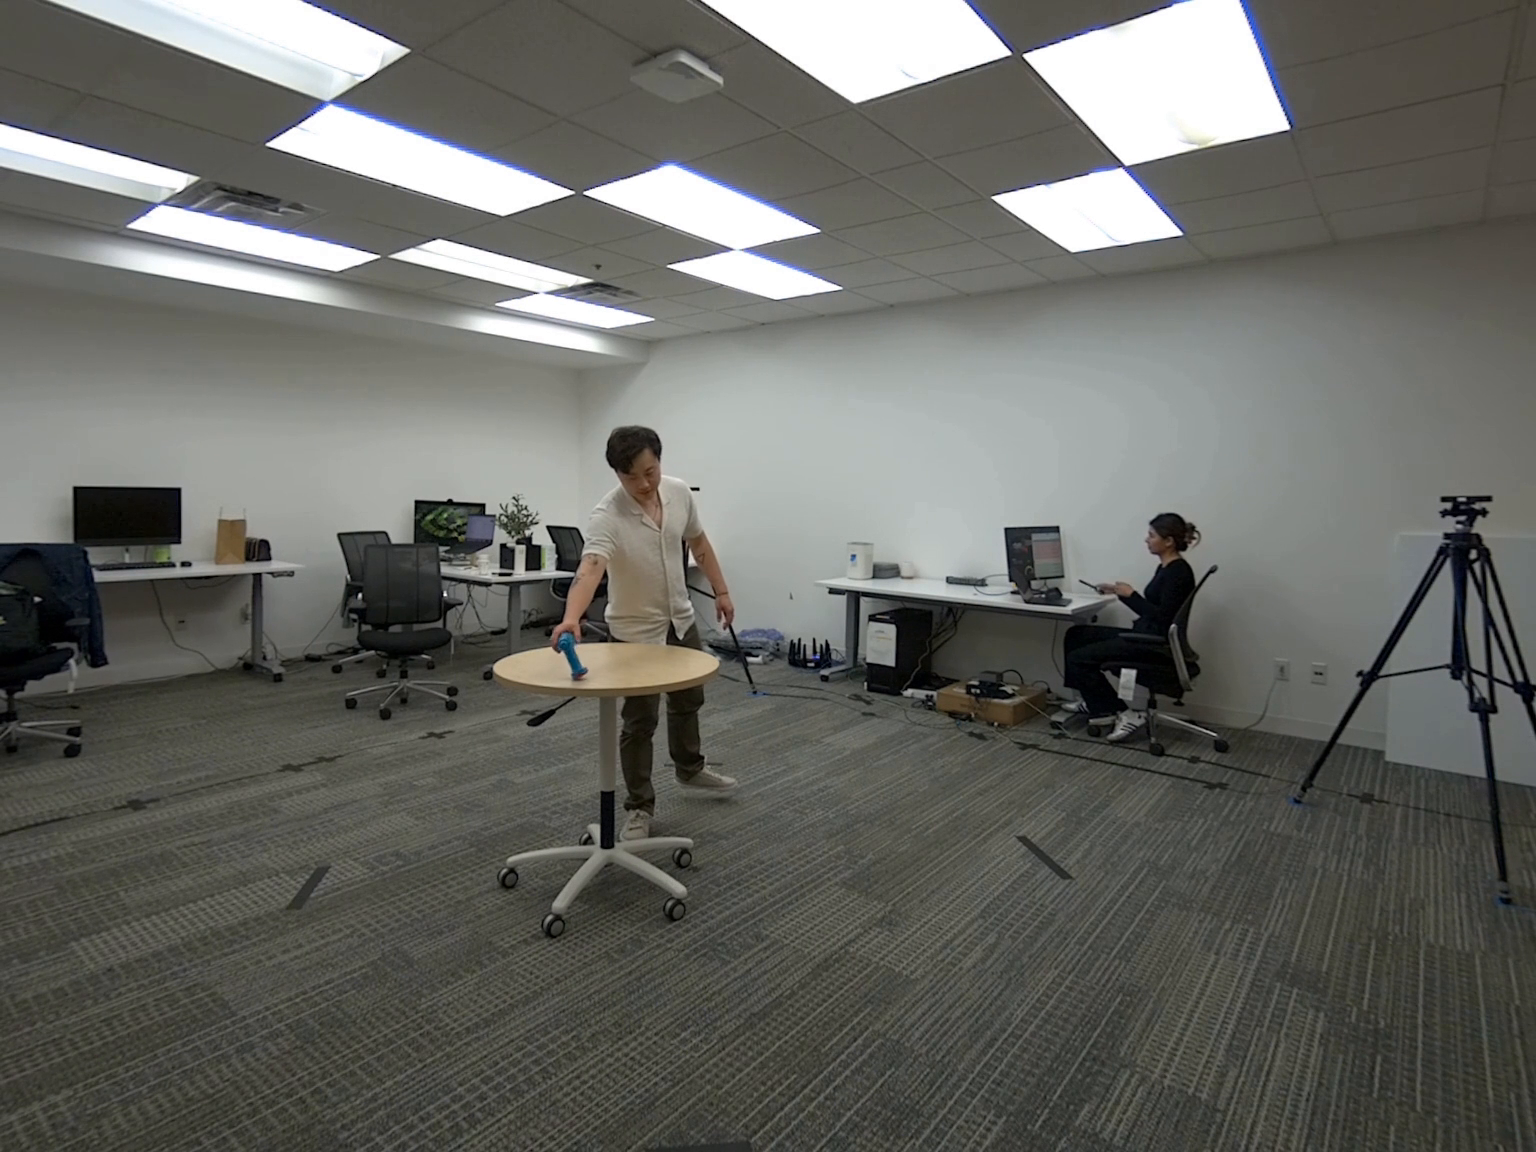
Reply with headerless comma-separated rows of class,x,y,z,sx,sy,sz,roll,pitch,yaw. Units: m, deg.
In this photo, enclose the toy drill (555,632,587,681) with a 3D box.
toy drill,-0.646,0.247,2.711,0.060,0.146,0.173,-9,4,-17
